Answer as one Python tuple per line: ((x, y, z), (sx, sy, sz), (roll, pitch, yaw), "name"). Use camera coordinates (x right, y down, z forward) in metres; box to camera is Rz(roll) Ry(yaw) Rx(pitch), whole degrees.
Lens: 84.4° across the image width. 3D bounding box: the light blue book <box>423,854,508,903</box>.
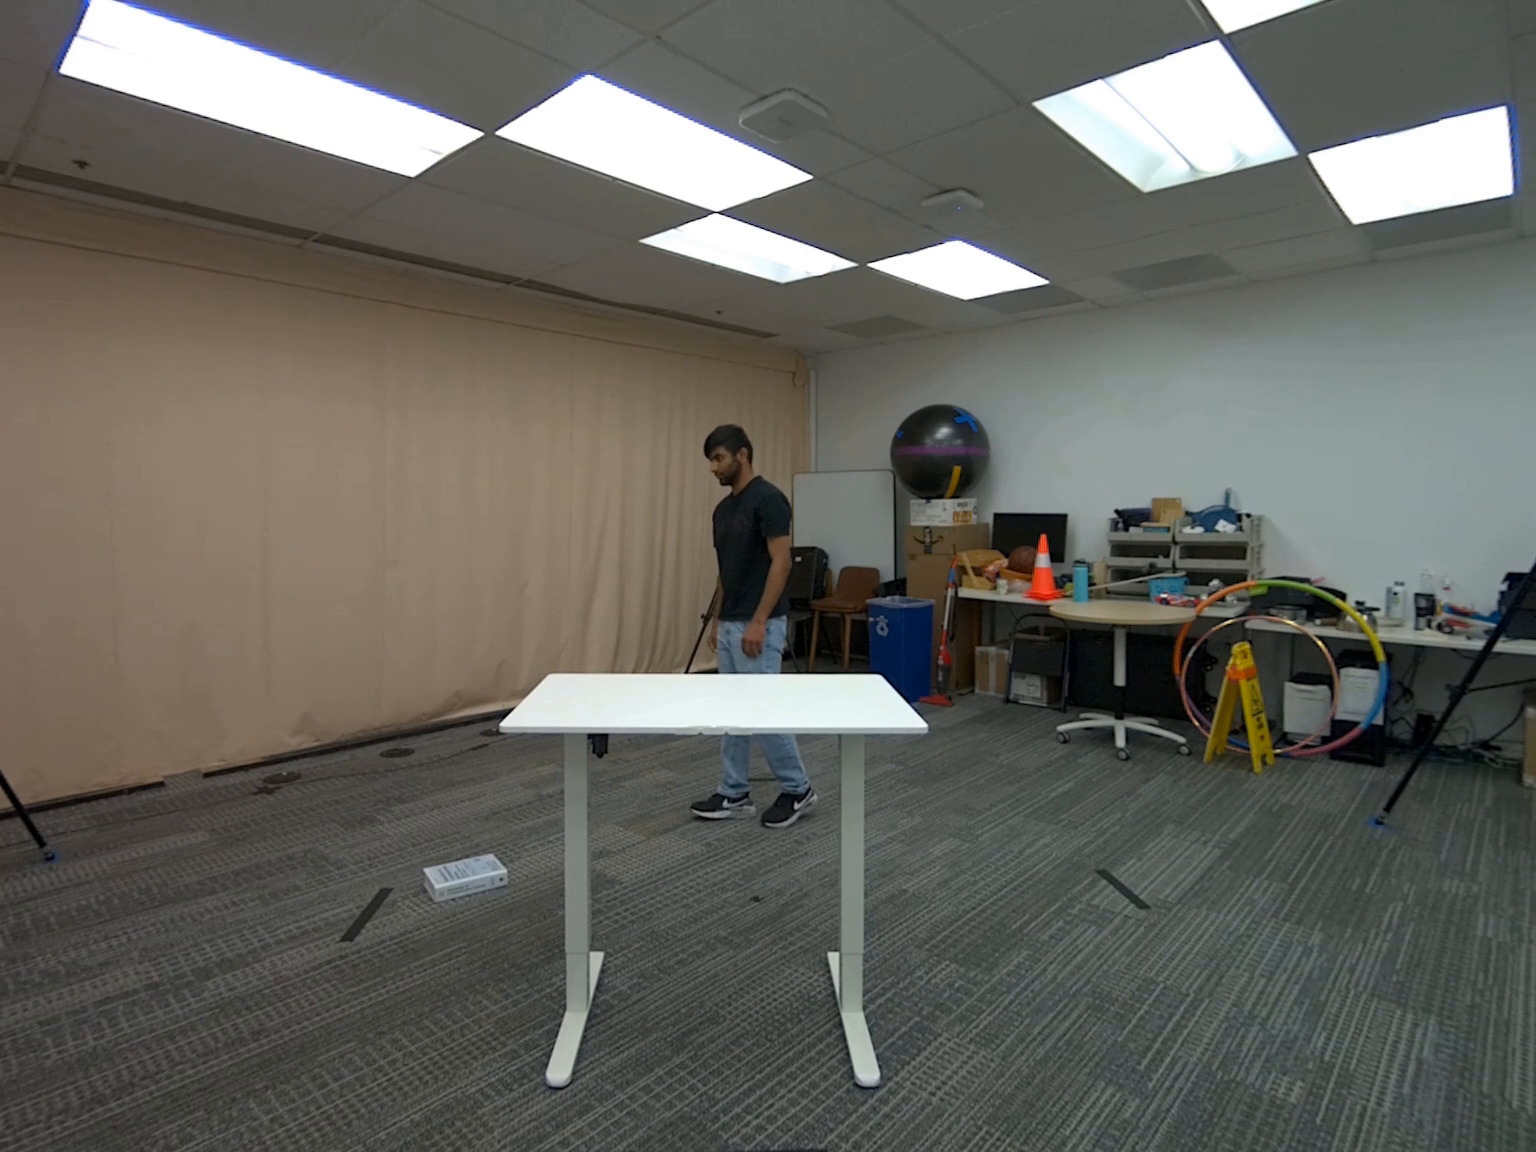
((-1.123, 1.113, 3.108), (0.254, 0.059, 0.197), (-3, 4, -33), "light blue book")
